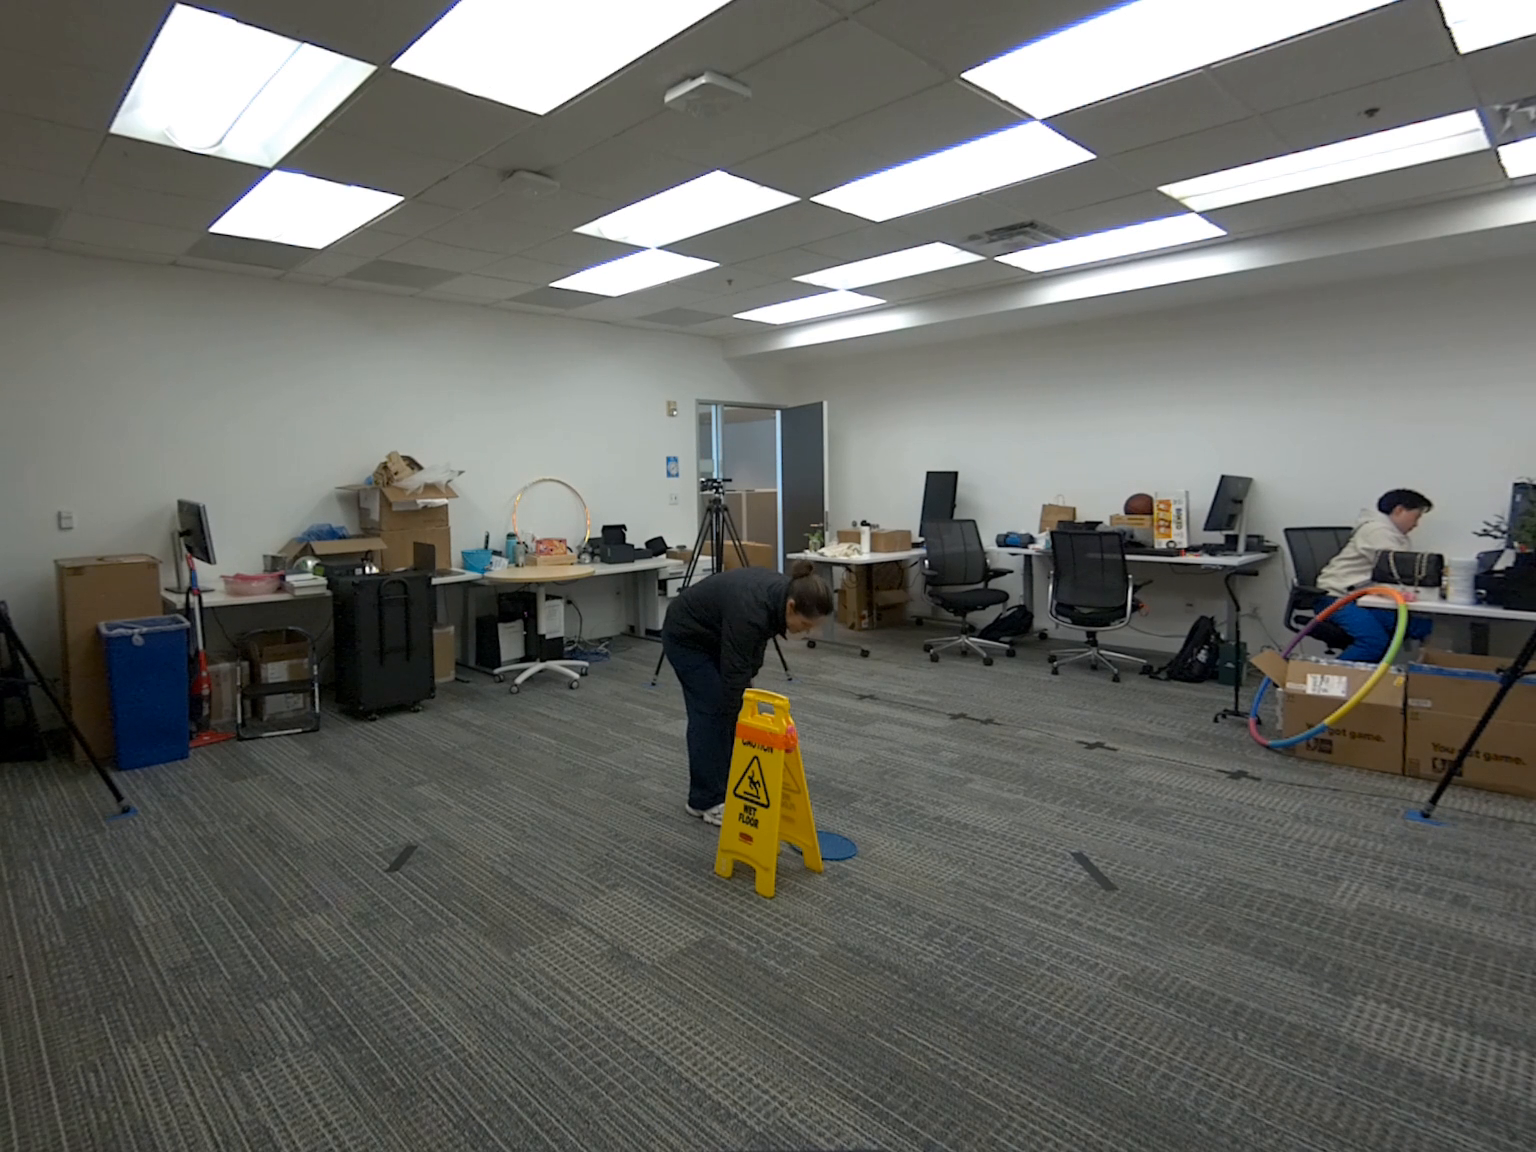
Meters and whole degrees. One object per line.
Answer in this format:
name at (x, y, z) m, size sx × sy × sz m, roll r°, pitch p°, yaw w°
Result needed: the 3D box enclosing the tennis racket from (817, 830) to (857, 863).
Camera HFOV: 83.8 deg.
tennis racket at (0.141, 1.009, 3.295) m, size 0.446 × 0.031 × 0.208 m, roll 6°, pitch 8°, yaw 34°
